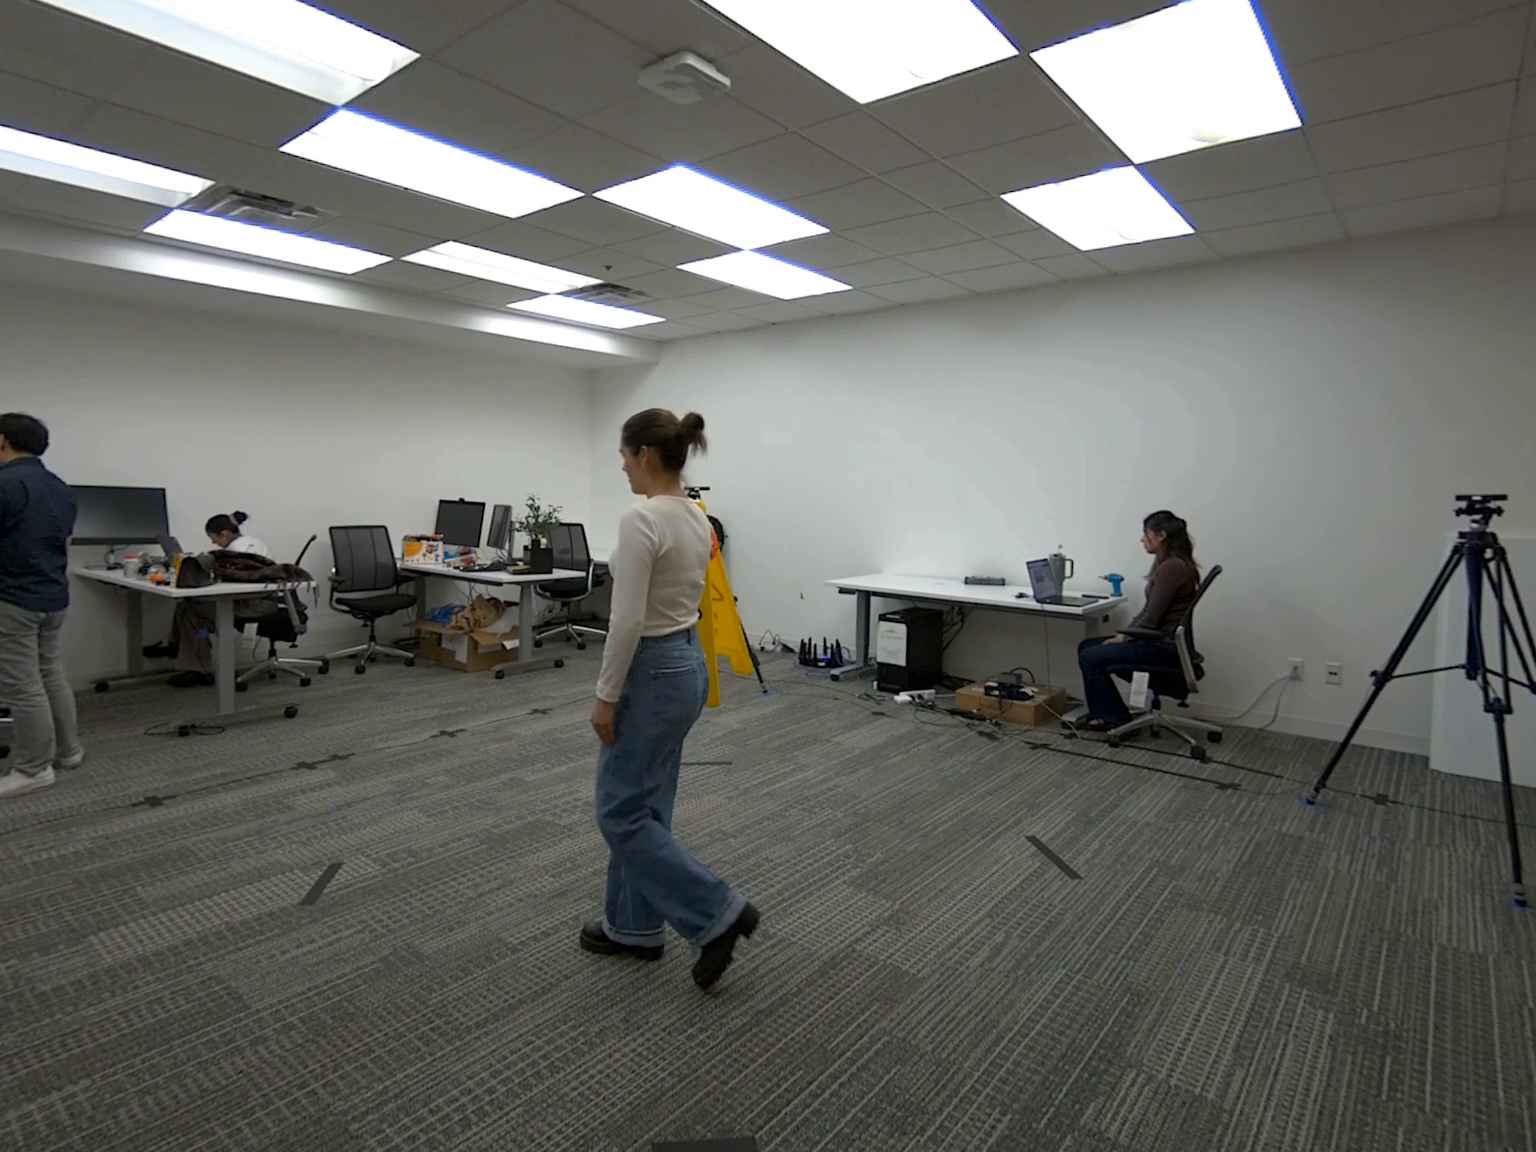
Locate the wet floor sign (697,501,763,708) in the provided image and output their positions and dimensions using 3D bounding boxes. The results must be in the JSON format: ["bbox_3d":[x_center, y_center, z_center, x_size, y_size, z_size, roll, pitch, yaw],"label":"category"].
[{"bbox_3d":[-0.271,0.066,2.801,0.289,0.636,0.287,-1,15,26],"label":"wet floor sign"}]
